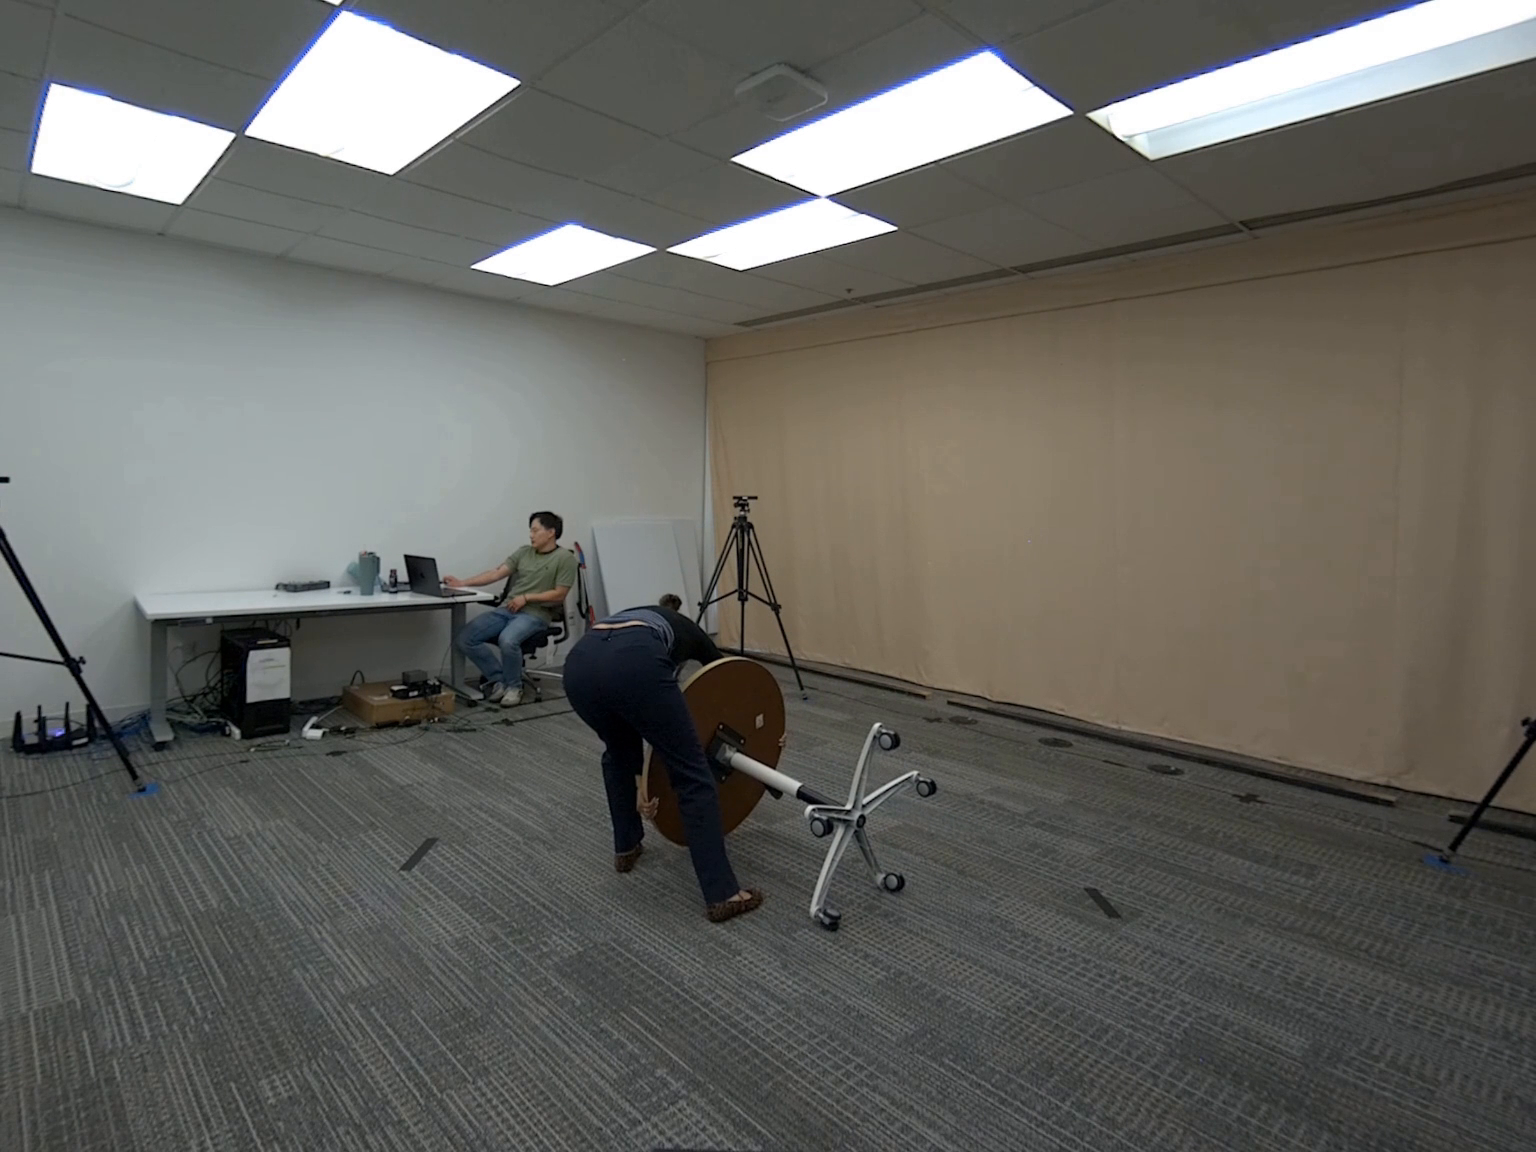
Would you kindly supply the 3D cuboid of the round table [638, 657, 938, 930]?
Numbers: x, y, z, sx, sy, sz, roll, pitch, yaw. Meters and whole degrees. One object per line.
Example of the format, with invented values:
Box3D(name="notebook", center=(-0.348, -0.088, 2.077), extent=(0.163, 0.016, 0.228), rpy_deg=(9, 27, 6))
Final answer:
Box3D(name="round table", center=(0.078, 0.779, 3.077), extent=(0.817, 0.759, 0.746), rpy_deg=(15, 12, 42))
